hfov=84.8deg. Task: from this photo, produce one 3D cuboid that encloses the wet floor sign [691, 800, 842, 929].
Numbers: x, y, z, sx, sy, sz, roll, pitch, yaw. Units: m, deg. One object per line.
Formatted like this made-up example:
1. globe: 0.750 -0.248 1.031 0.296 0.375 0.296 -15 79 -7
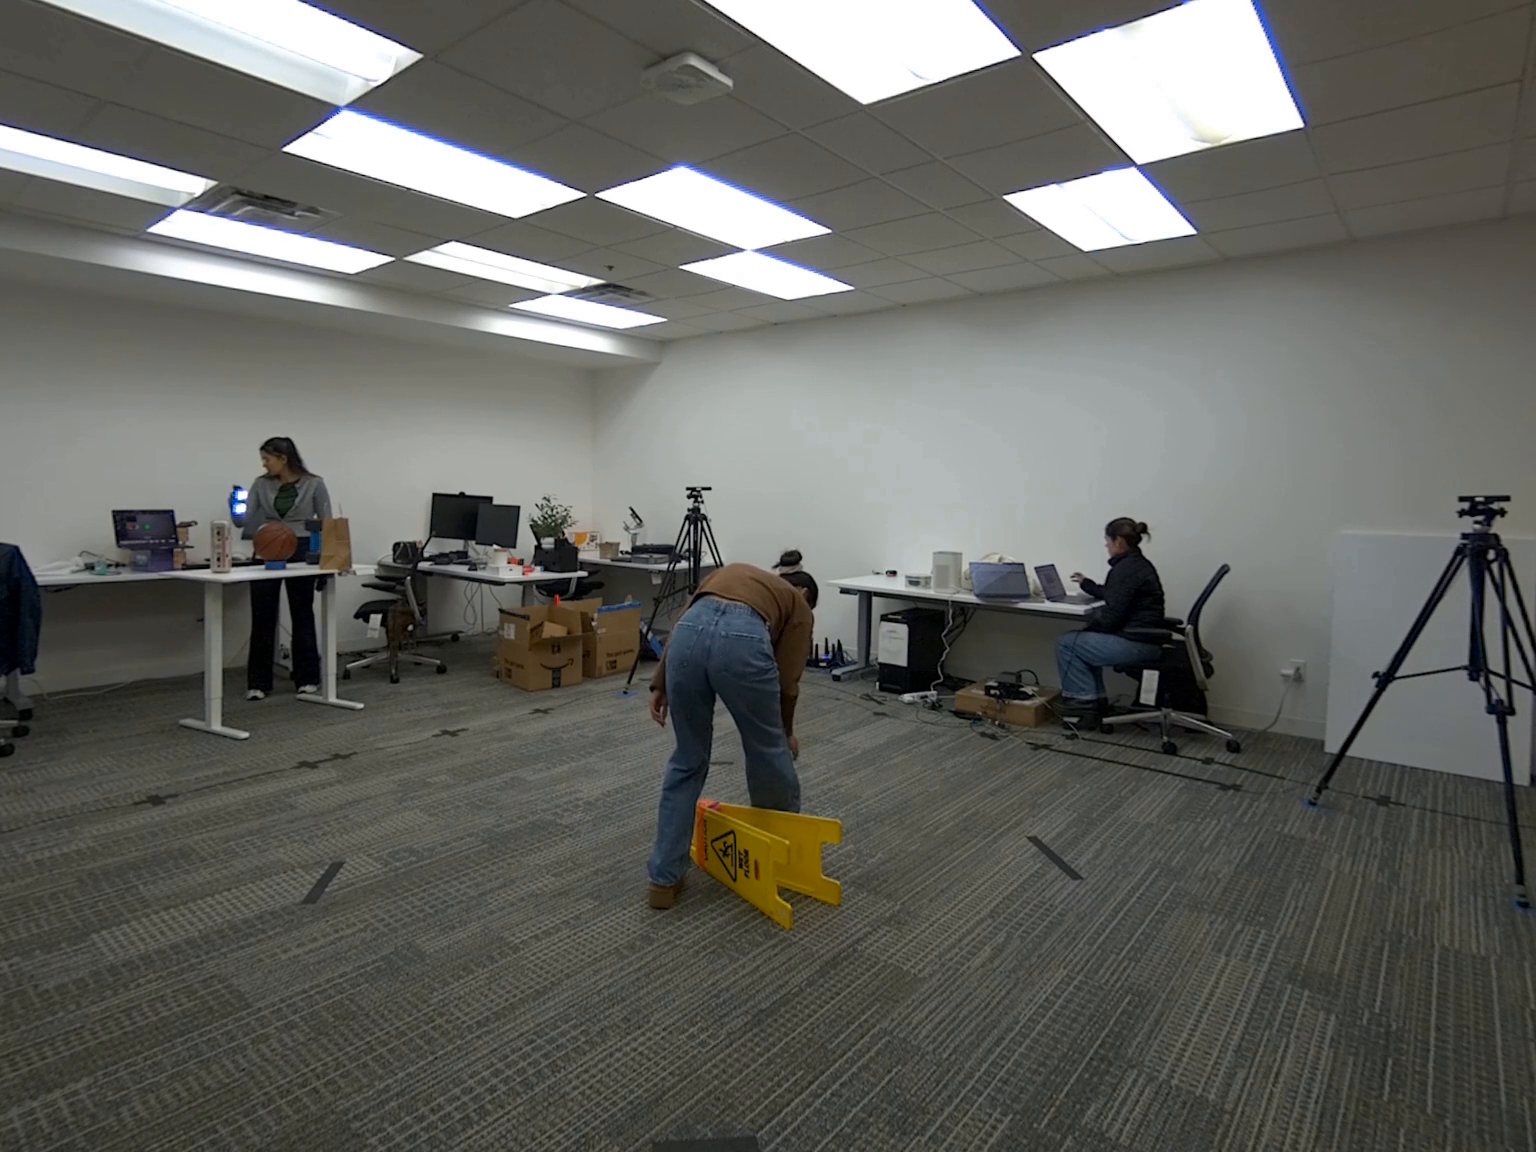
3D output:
1. wet floor sign: -0.091 0.953 2.988 0.667 0.282 0.281 2 4 44
